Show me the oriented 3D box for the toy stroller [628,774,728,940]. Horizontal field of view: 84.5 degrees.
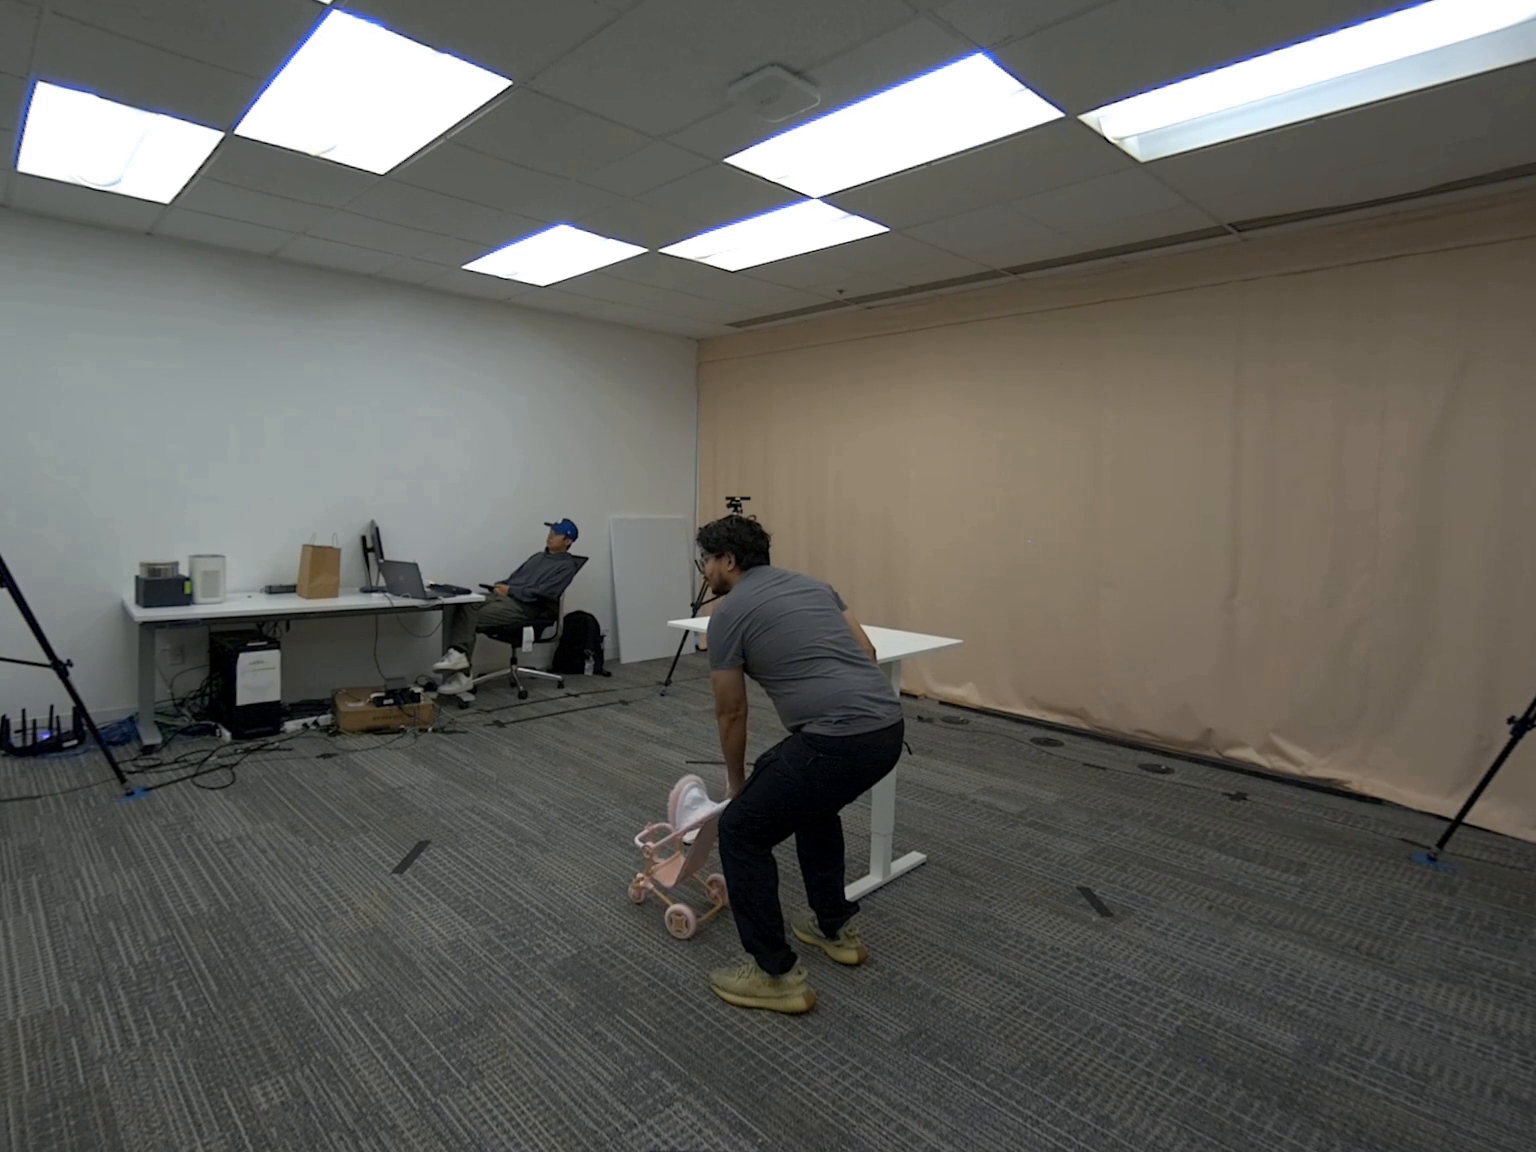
[{"bbox_3d":[-0.284,0.903,2.786,0.350,0.532,0.275,19,12,31],"label":"toy stroller"}]
